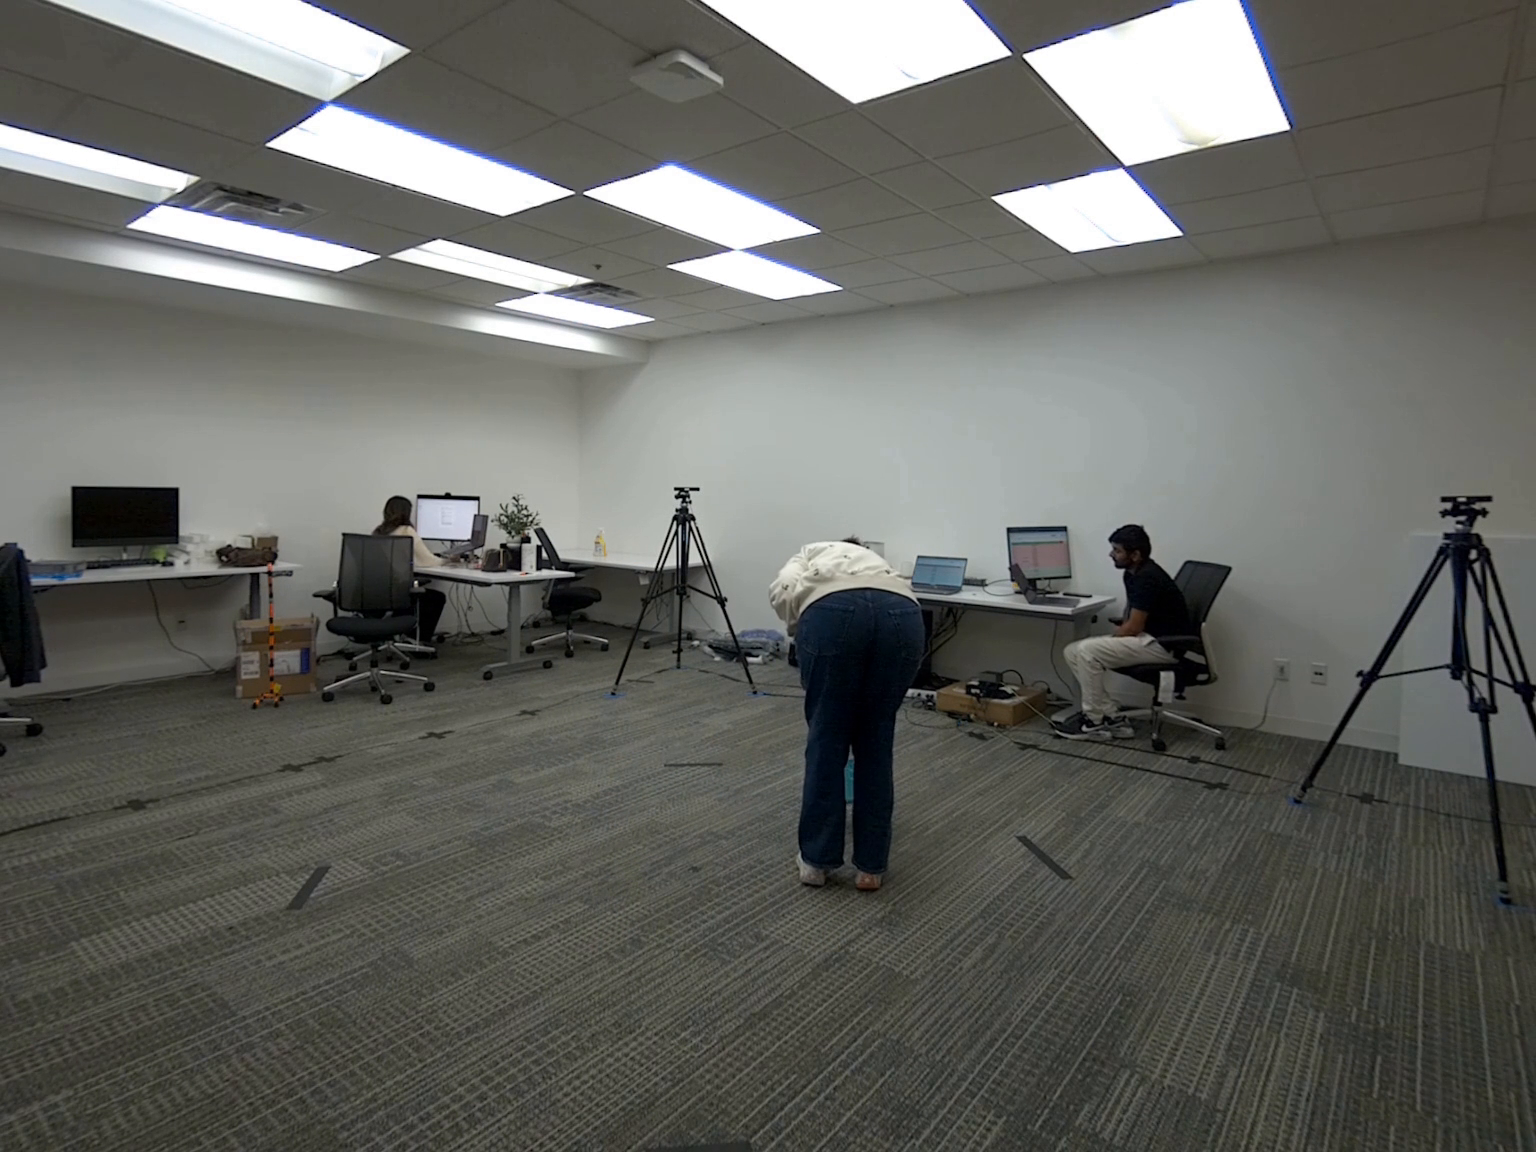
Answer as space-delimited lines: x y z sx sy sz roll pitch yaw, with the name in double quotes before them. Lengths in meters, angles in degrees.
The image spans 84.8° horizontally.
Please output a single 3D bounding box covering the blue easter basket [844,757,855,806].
"blue easter basket" 0.375 0.837 3.541 0.243 0.159 0.239 -5 -21 -4
